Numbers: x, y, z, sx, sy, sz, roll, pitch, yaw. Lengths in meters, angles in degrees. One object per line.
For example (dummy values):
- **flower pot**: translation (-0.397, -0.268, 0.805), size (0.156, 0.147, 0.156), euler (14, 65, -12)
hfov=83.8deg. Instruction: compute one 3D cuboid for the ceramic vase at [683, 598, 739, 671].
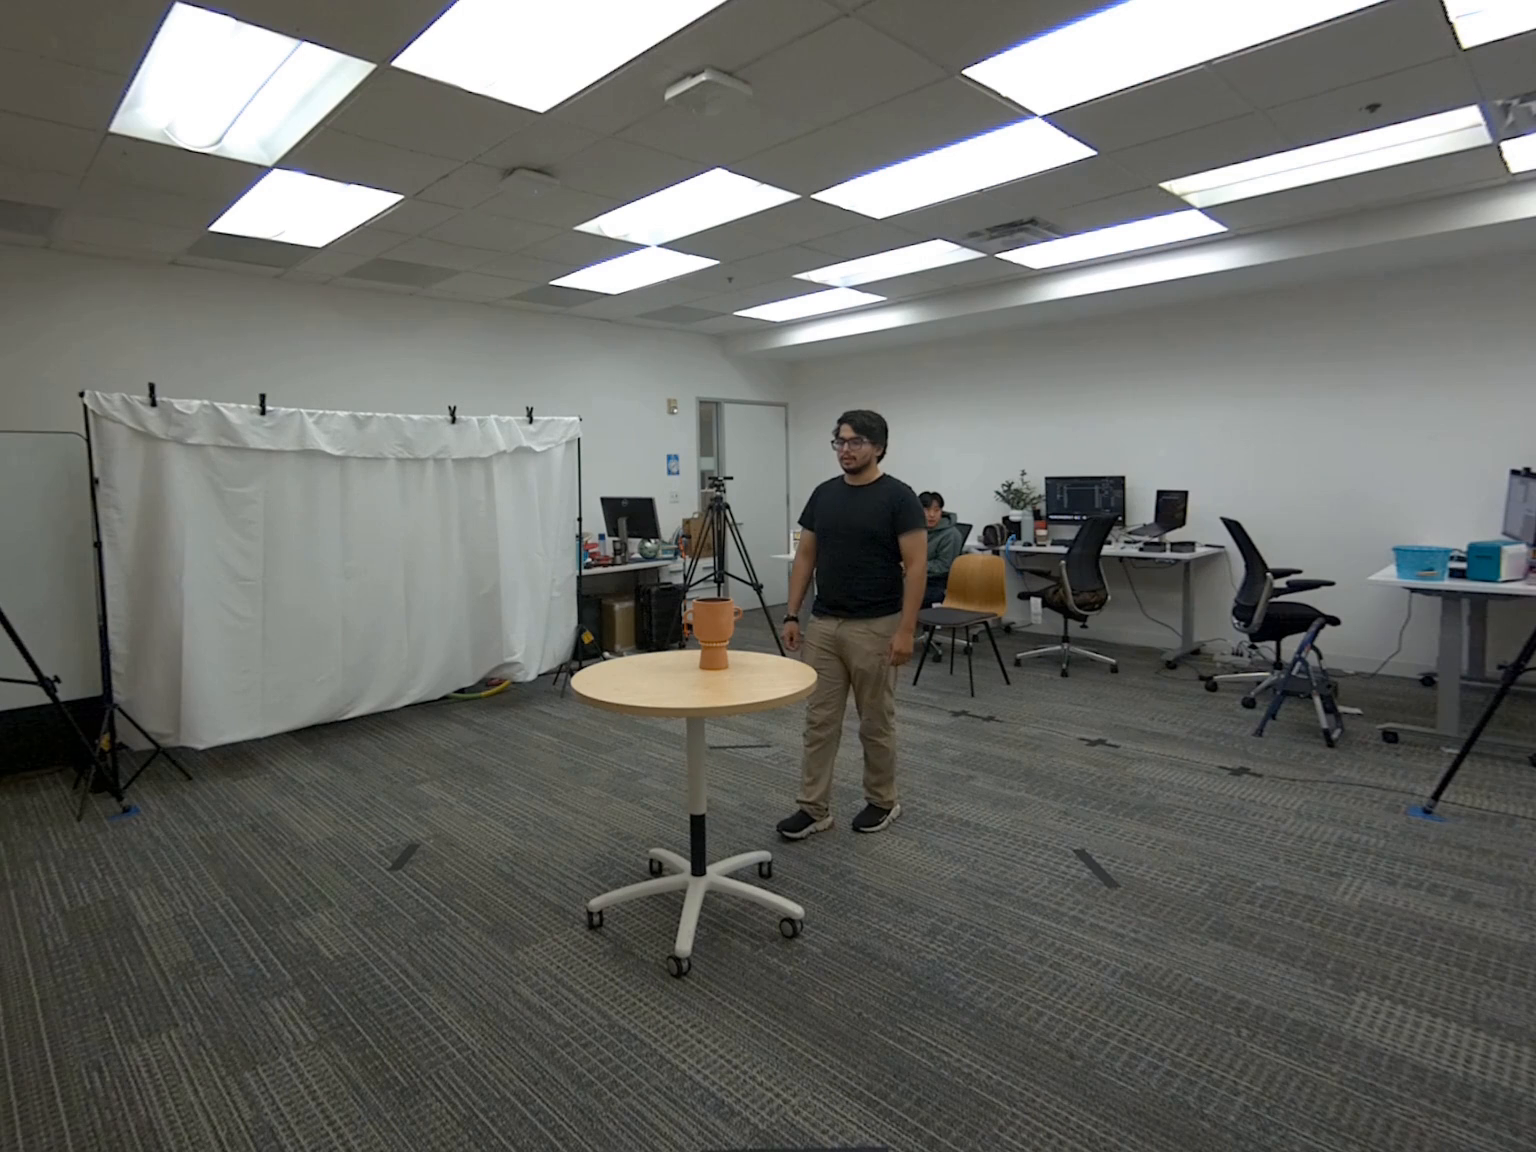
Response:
- **ceramic vase**: translation (-0.175, 0.190, 2.774), size (0.162, 0.219, 0.132), euler (1, 4, 22)
